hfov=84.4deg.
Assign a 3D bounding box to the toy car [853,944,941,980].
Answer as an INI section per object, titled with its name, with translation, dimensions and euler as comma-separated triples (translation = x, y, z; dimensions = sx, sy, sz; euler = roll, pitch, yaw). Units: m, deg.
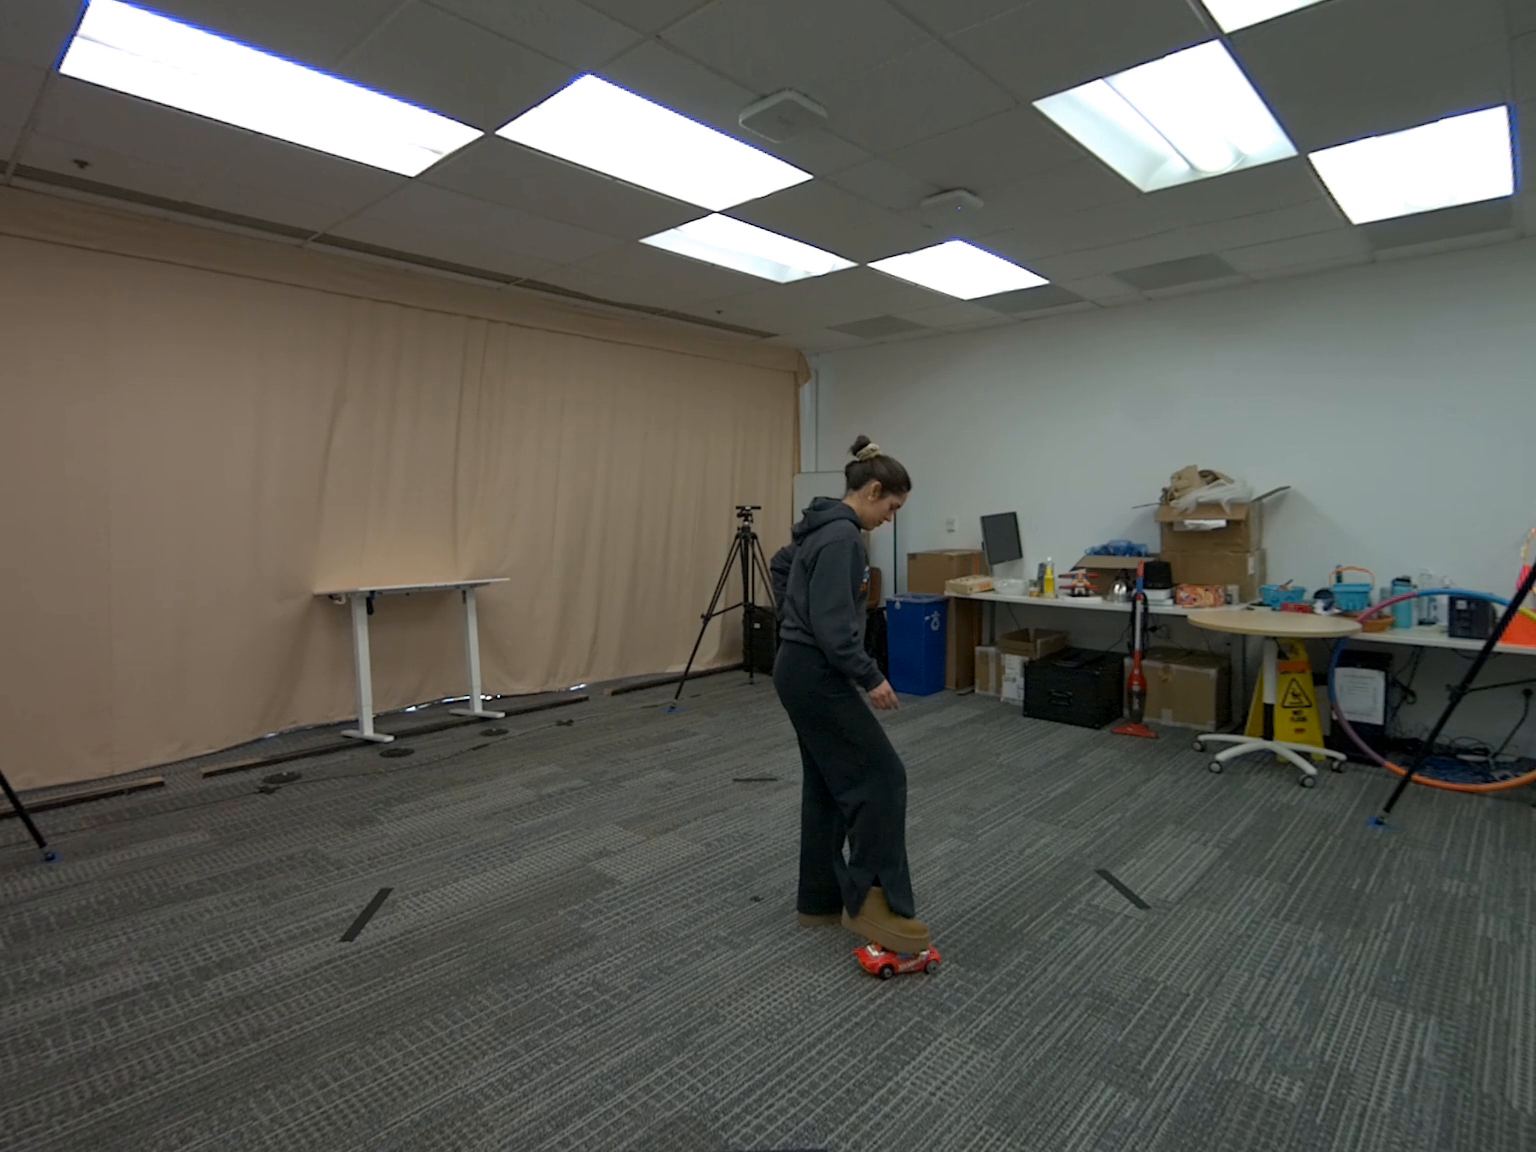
[toy car]
translation = 0.409, 1.143, 2.533
dimensions = 0.252, 0.083, 0.132
euler = 11, 1, -10
